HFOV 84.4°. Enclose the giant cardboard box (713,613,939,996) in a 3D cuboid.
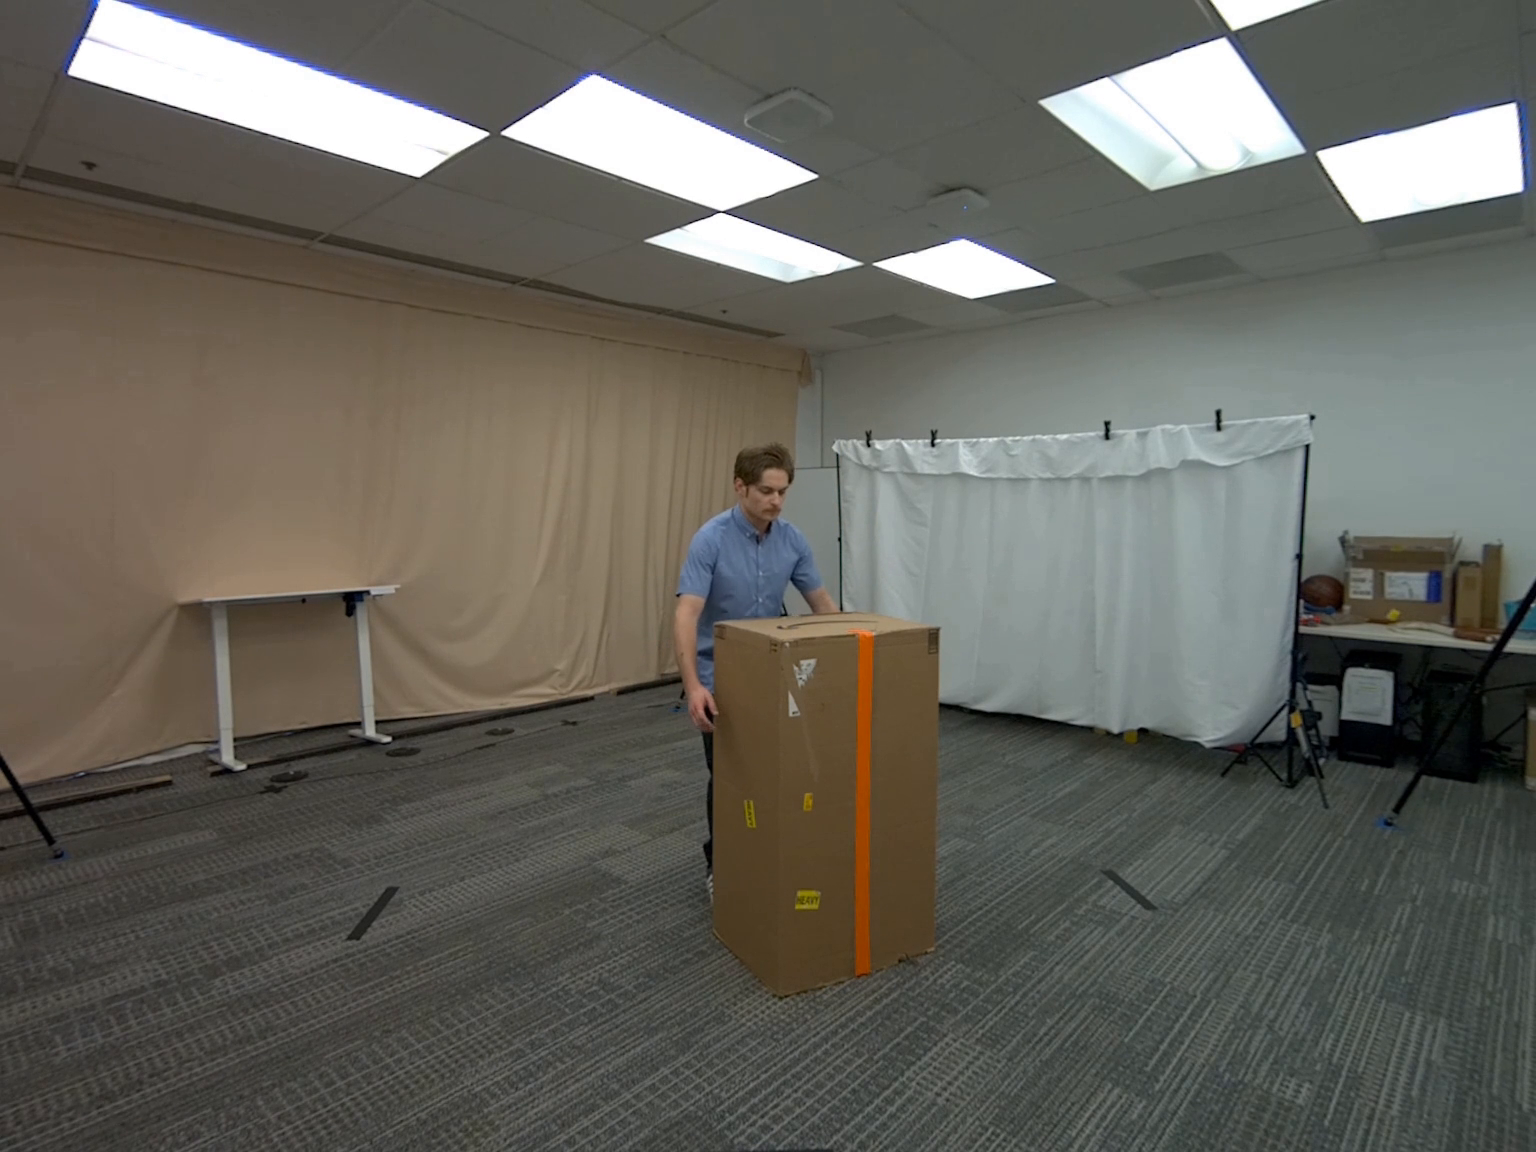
[{"bbox_3d":[0.184,0.659,2.663,0.562,1.024,0.438,-2,3,-29],"label":"giant cardboard box"}]
